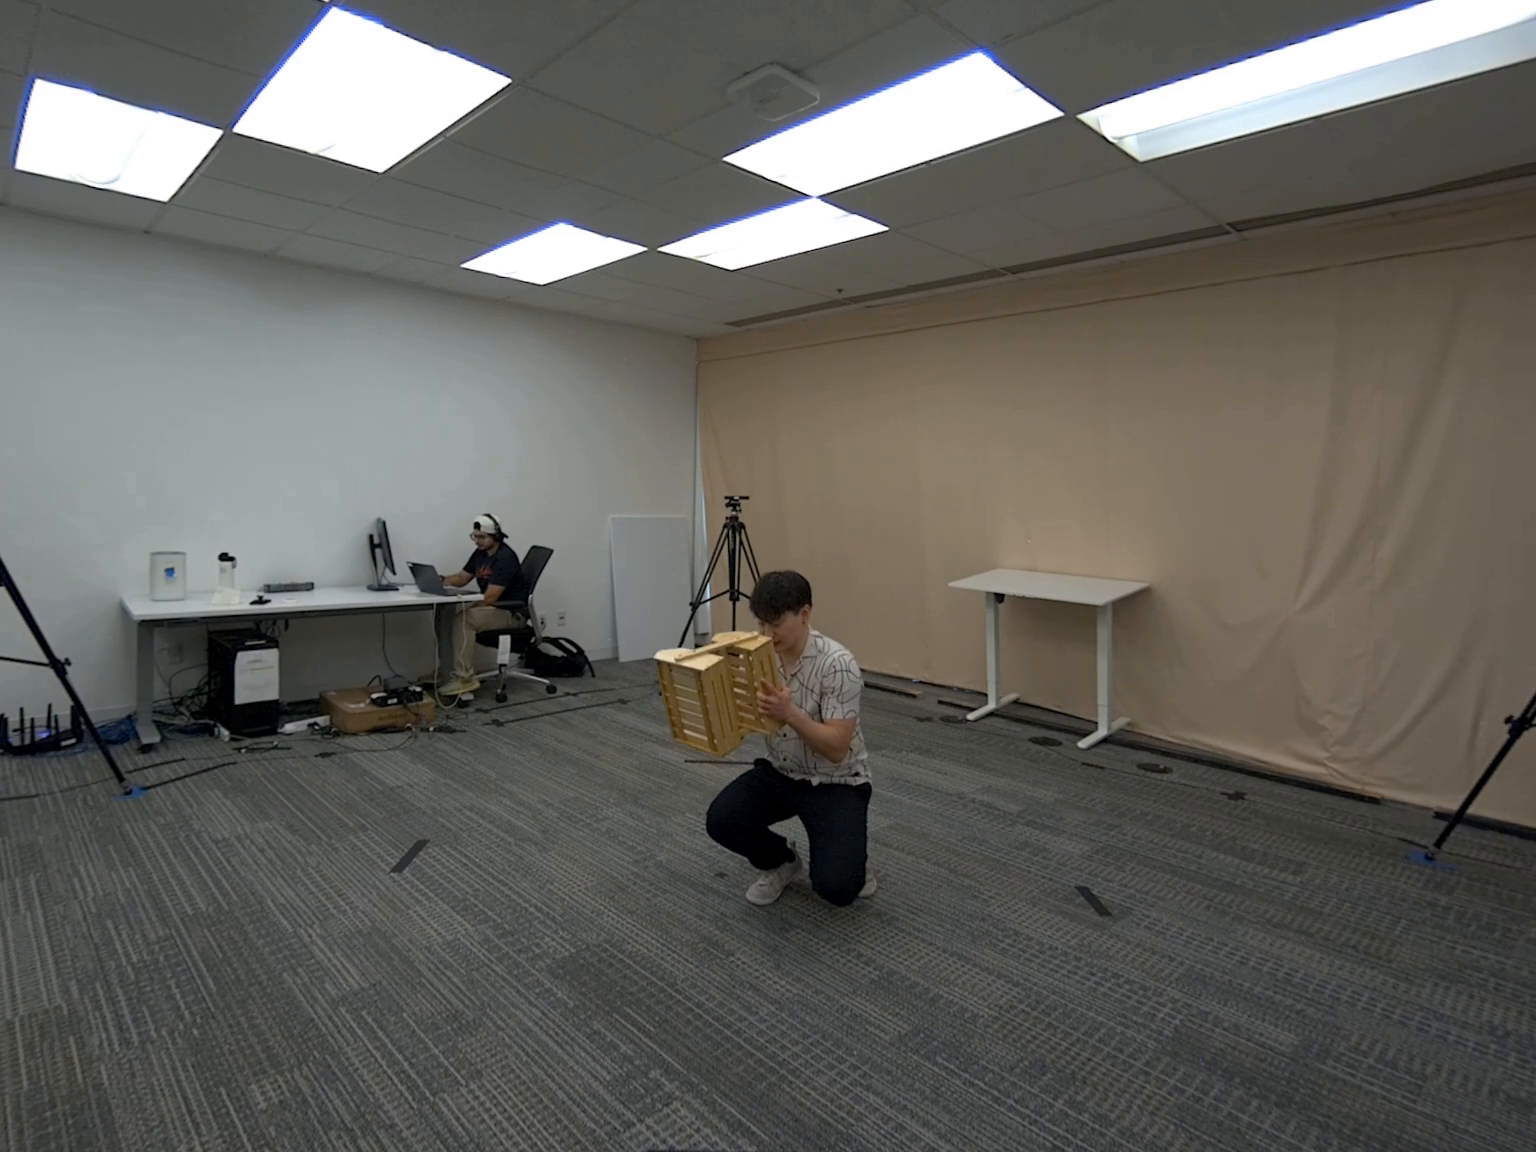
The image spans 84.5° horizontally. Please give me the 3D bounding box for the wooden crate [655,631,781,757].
[{"bbox_3d":[-0.158,0.358,2.692,0.310,0.320,0.270,7,24,44],"label":"wooden crate"}]
